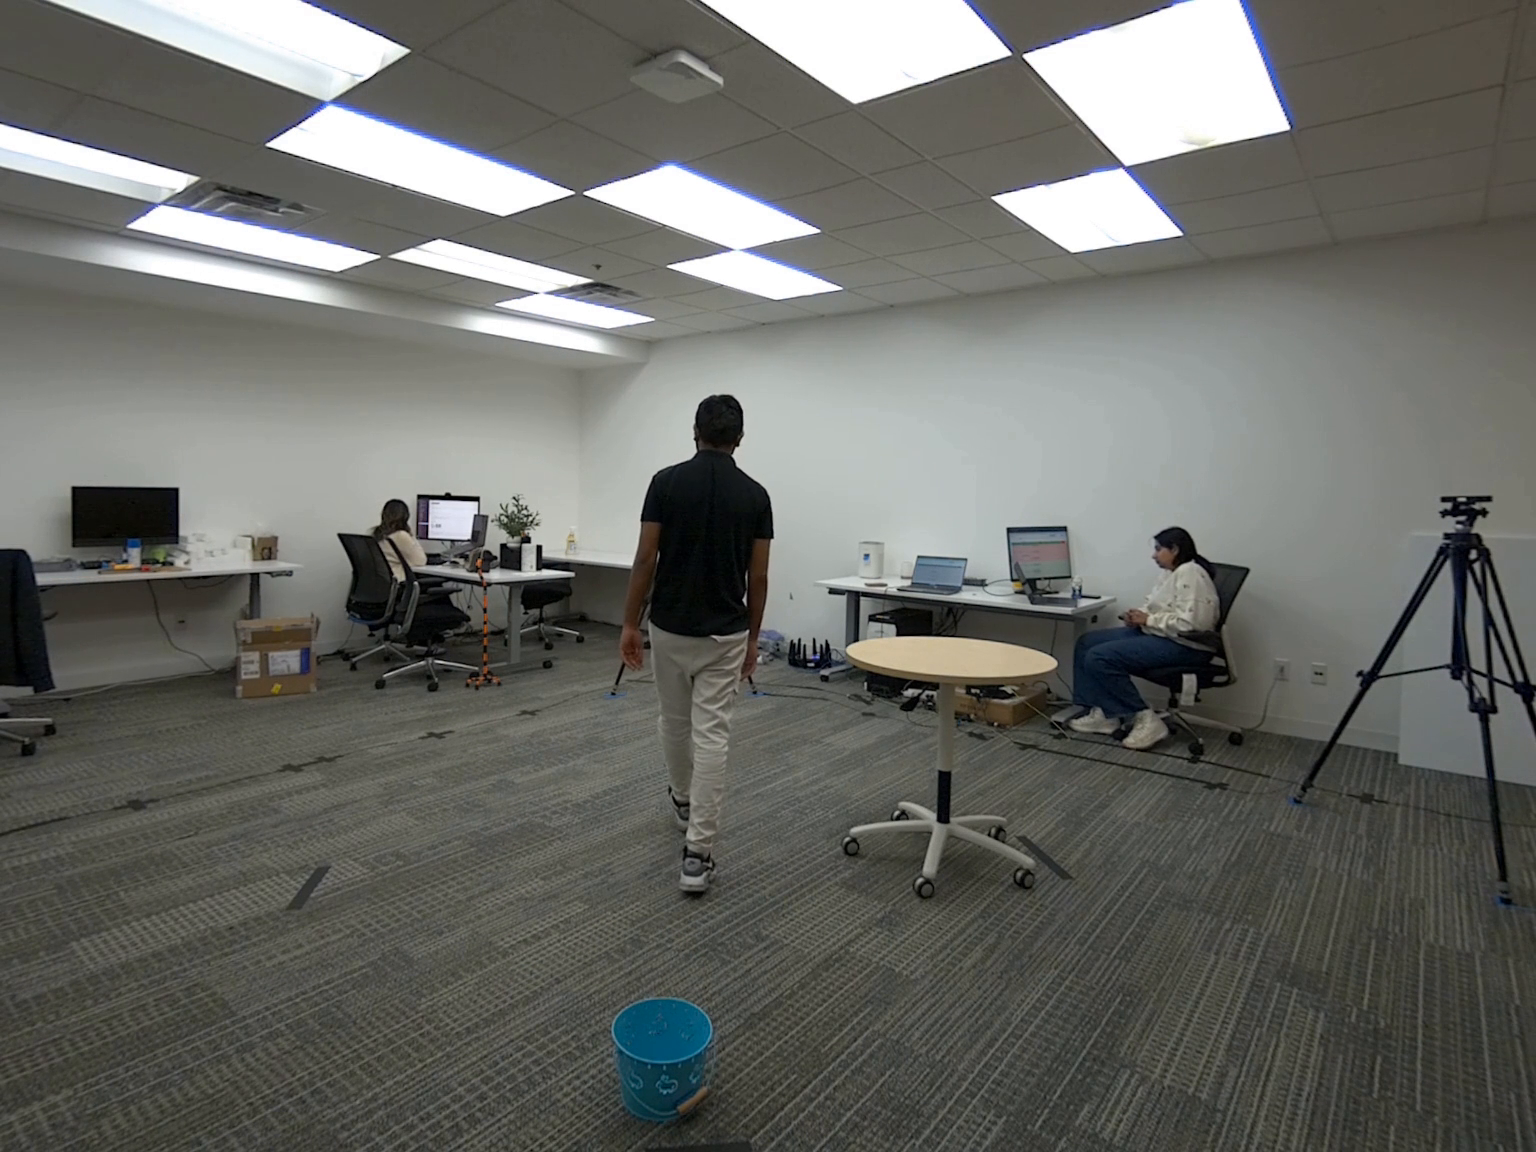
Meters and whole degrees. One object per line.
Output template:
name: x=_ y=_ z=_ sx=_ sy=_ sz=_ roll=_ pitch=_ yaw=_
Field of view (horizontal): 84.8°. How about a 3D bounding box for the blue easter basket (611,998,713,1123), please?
blue easter basket: x=-0.252 y=1.102 z=1.950 sx=0.243 sy=0.155 sz=0.245 roll=1 pitch=5 yaw=-2
